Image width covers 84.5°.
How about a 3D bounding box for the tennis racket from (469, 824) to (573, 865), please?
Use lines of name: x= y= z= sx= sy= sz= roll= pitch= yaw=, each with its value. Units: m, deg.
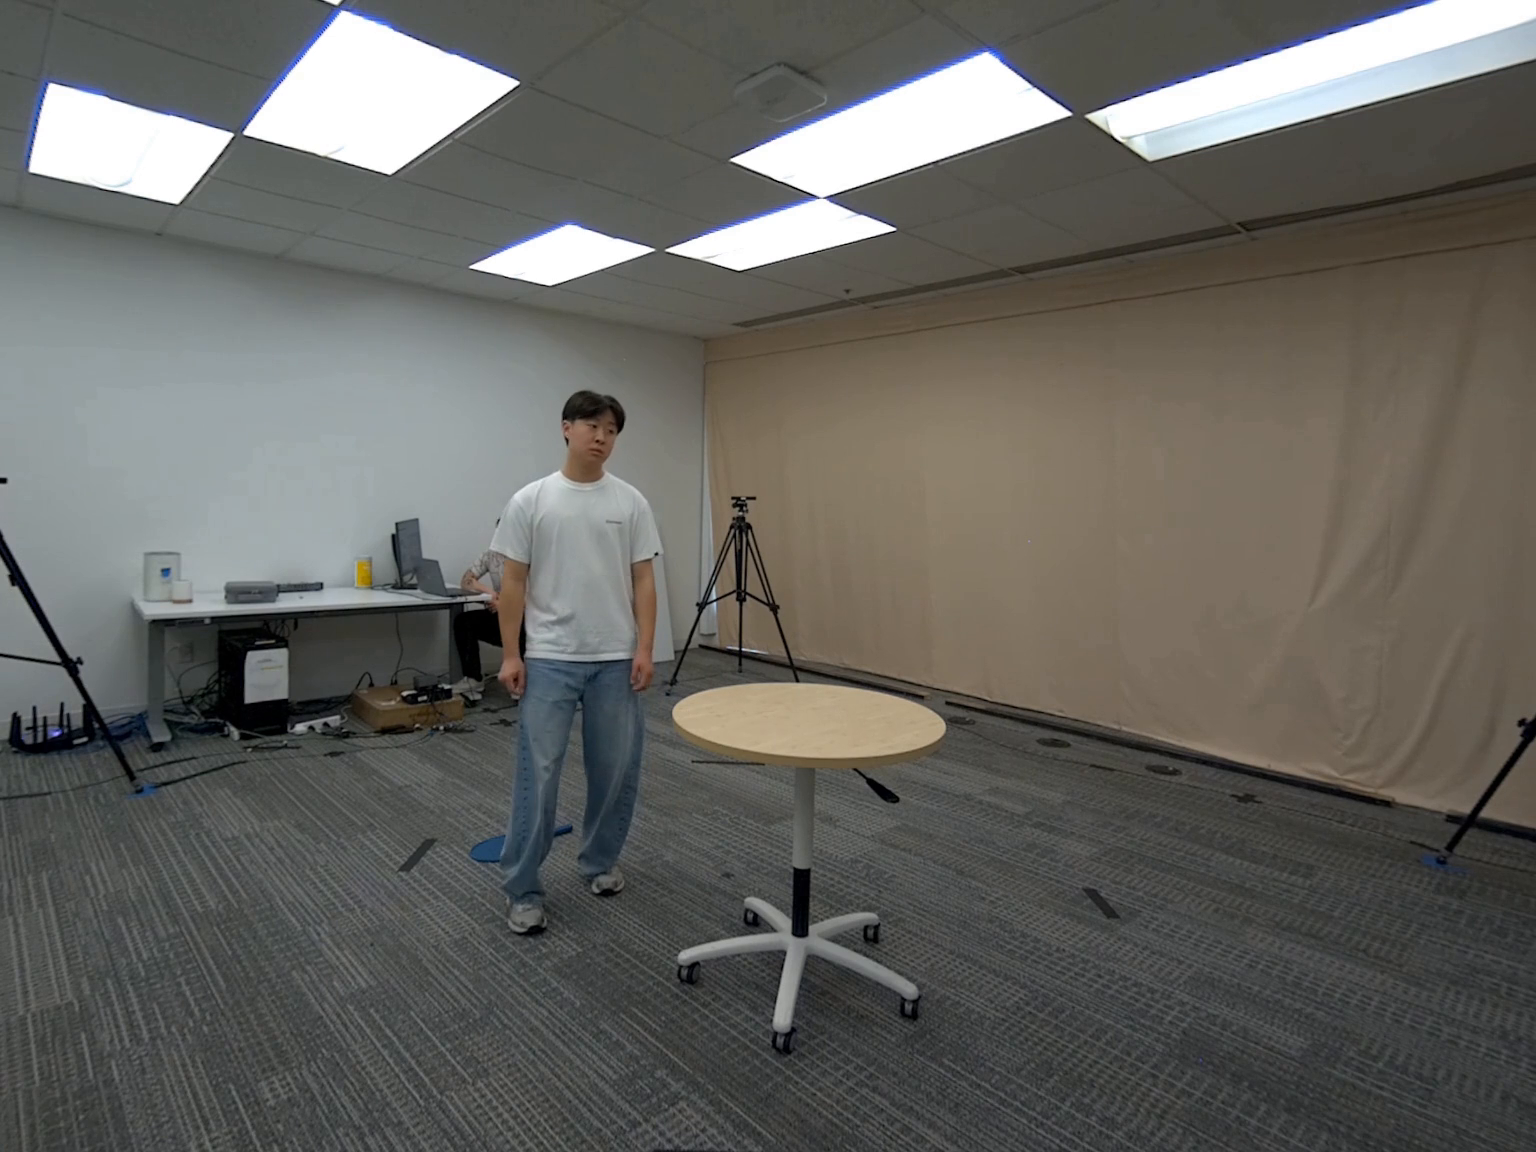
tennis racket: x=-0.970 y=1.053 z=3.337 sx=0.423 sy=0.031 sz=0.219 roll=-5 pitch=9 yaw=-42
